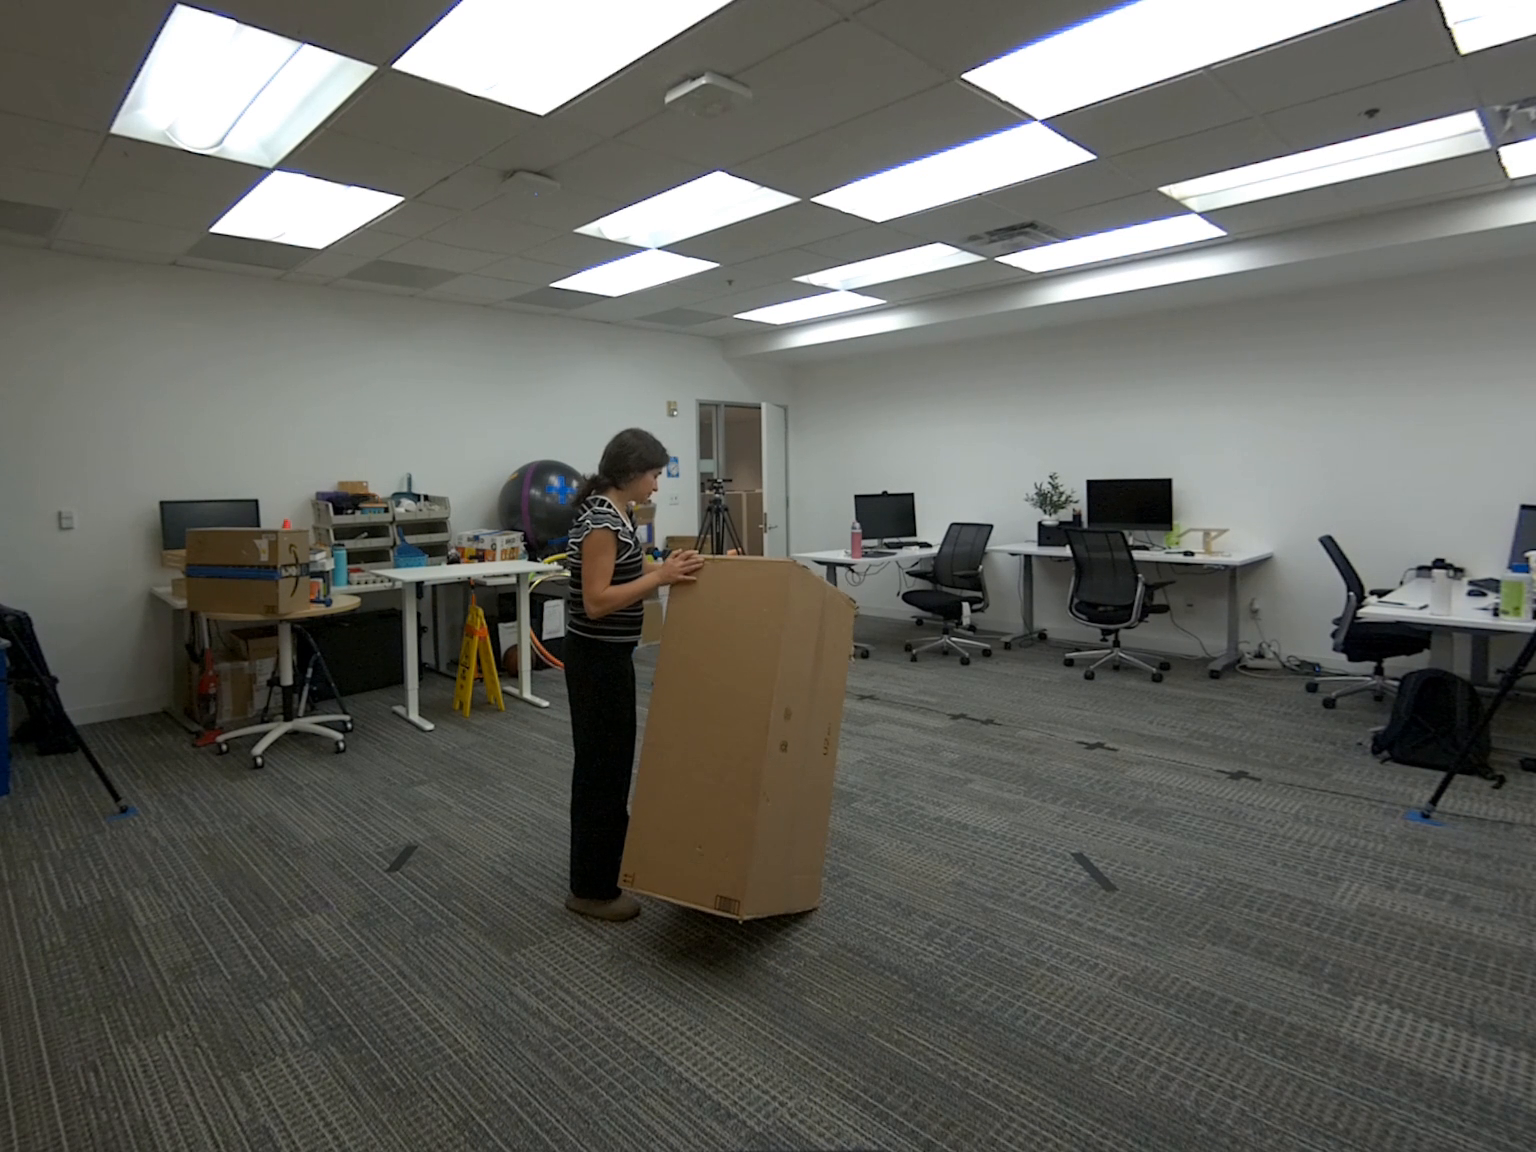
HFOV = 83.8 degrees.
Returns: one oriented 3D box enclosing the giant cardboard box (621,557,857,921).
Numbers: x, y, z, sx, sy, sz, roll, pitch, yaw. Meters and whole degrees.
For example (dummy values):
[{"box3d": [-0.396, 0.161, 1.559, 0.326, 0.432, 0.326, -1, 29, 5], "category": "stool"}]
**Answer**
[{"box3d": [-0.068, 0.508, 2.771, 0.437, 1.036, 0.557, 2, -15, 28], "category": "giant cardboard box"}]
